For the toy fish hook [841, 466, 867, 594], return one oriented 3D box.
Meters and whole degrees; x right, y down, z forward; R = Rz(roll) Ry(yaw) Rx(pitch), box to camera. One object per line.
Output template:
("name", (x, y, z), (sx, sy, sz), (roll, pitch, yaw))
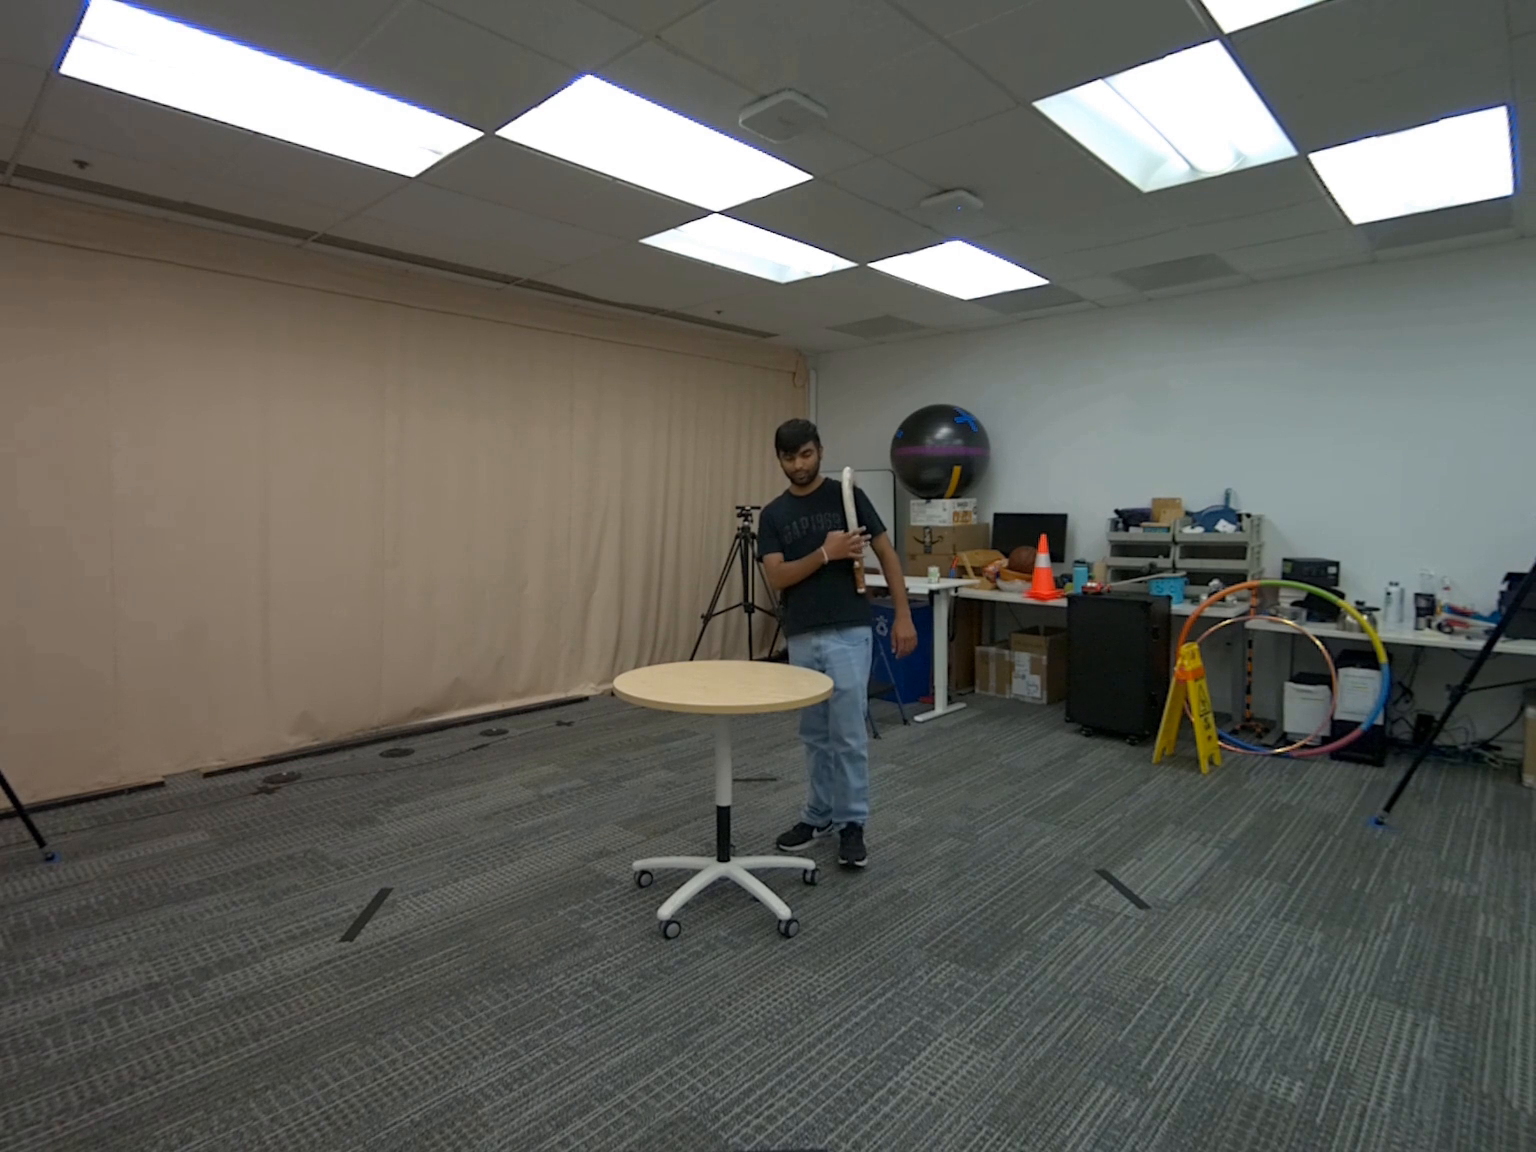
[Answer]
("toy fish hook", (0.363, -0.178, 3.340), (0.049, 0.509, 0.219), (-9, -7, 22))
